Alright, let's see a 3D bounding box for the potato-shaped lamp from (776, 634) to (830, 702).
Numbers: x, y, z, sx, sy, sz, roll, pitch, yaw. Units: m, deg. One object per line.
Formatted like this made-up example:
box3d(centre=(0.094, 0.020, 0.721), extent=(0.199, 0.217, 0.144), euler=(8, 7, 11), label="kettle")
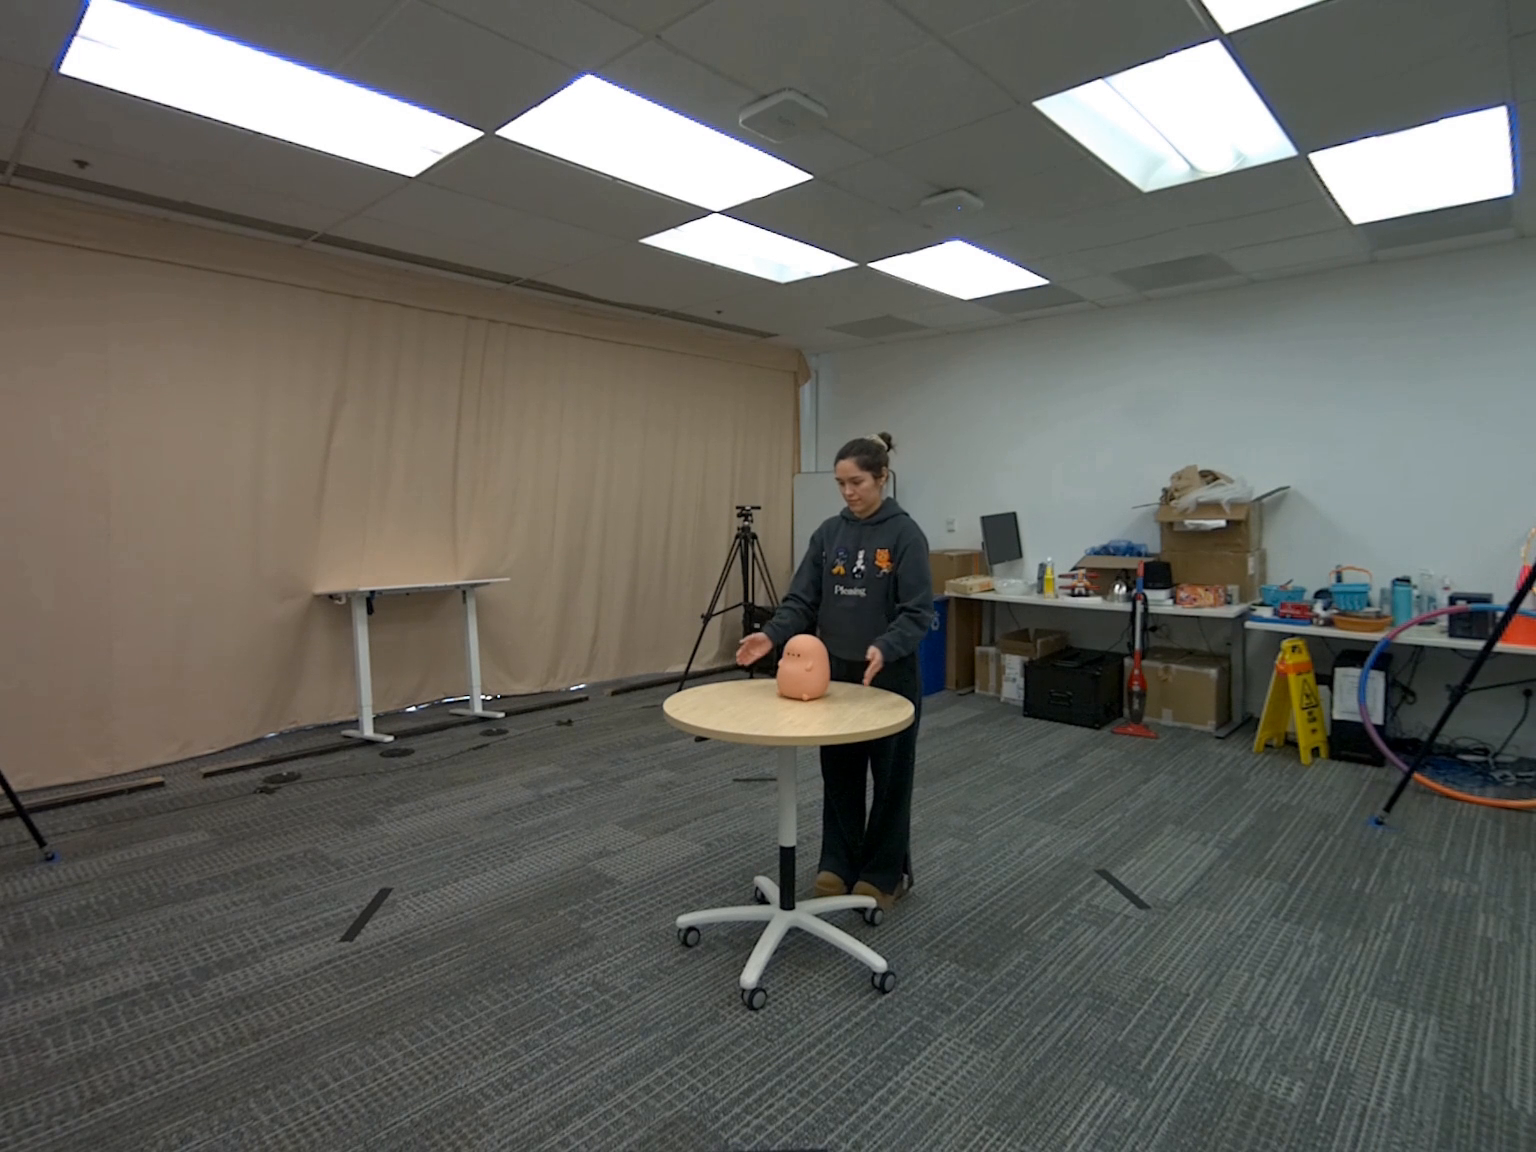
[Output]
box3d(centre=(0.124, 0.287, 2.683), extent=(0.170, 0.197, 0.166), euler=(2, 5, 39), label="potato-shaped lamp")
